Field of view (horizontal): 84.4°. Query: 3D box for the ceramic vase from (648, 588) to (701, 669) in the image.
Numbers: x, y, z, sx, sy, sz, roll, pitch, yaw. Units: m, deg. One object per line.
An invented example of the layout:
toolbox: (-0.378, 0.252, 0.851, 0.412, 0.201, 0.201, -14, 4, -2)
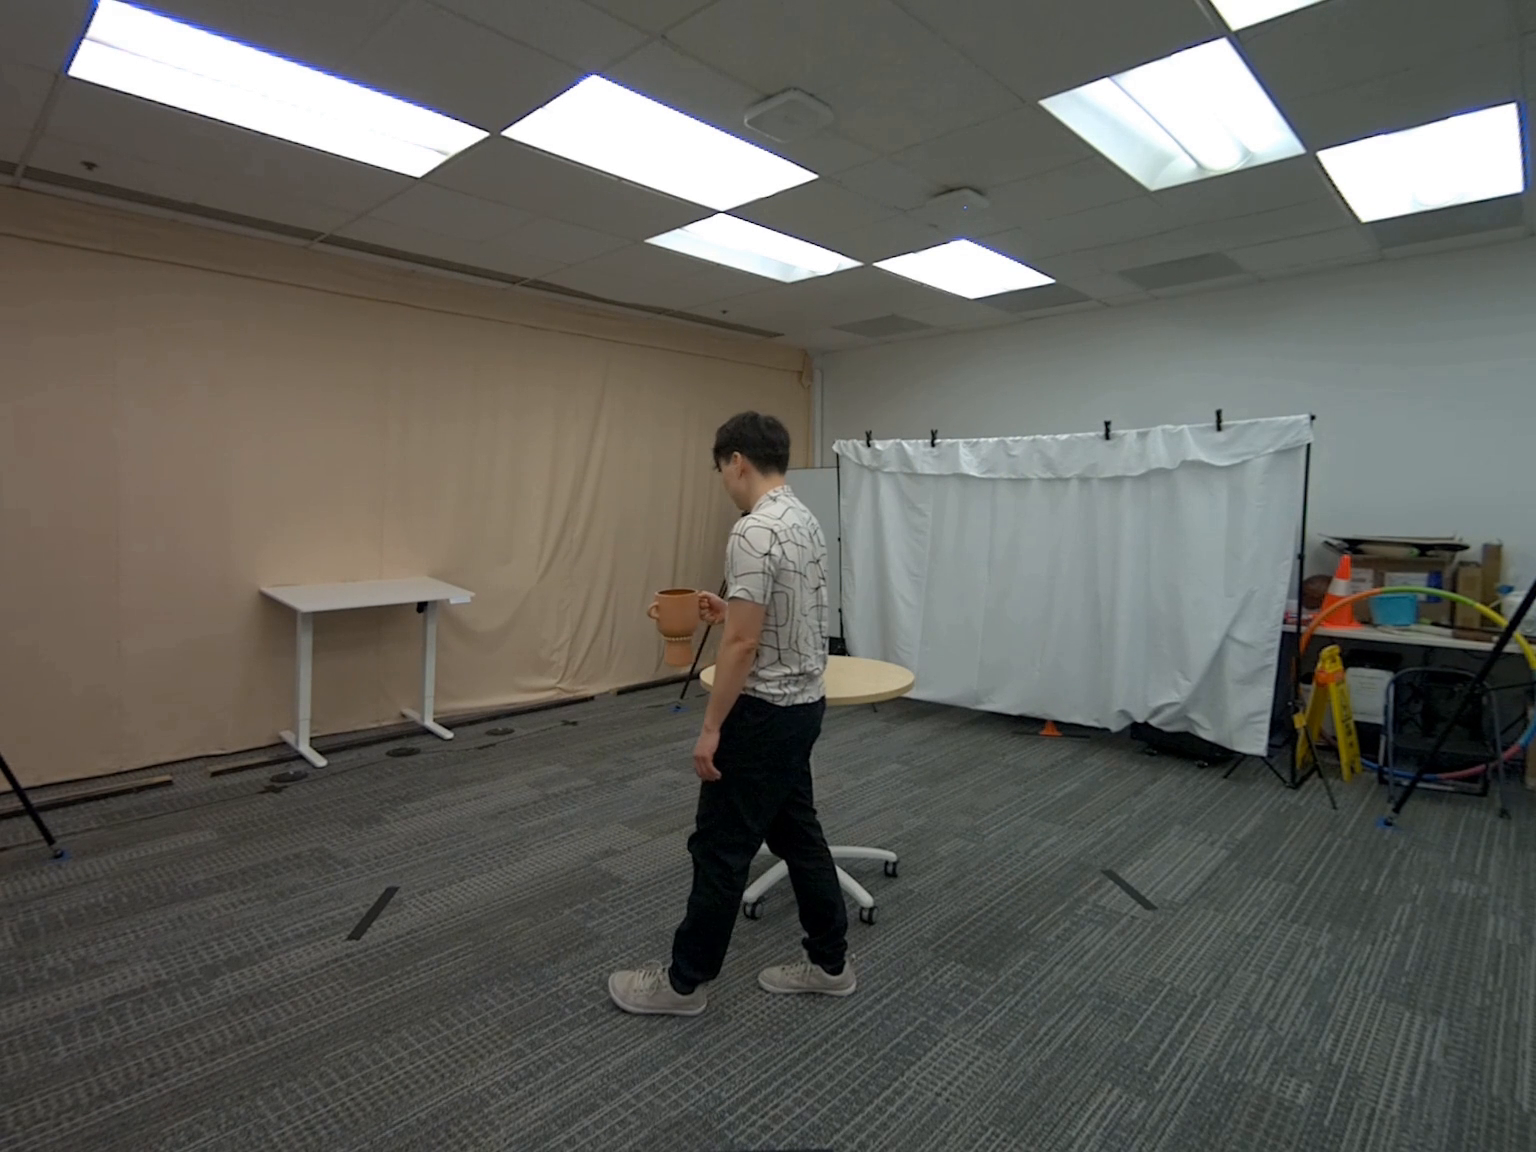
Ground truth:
ceramic vase: (-0.276, 0.160, 2.569, 0.161, 0.219, 0.134, -1, 7, 10)
